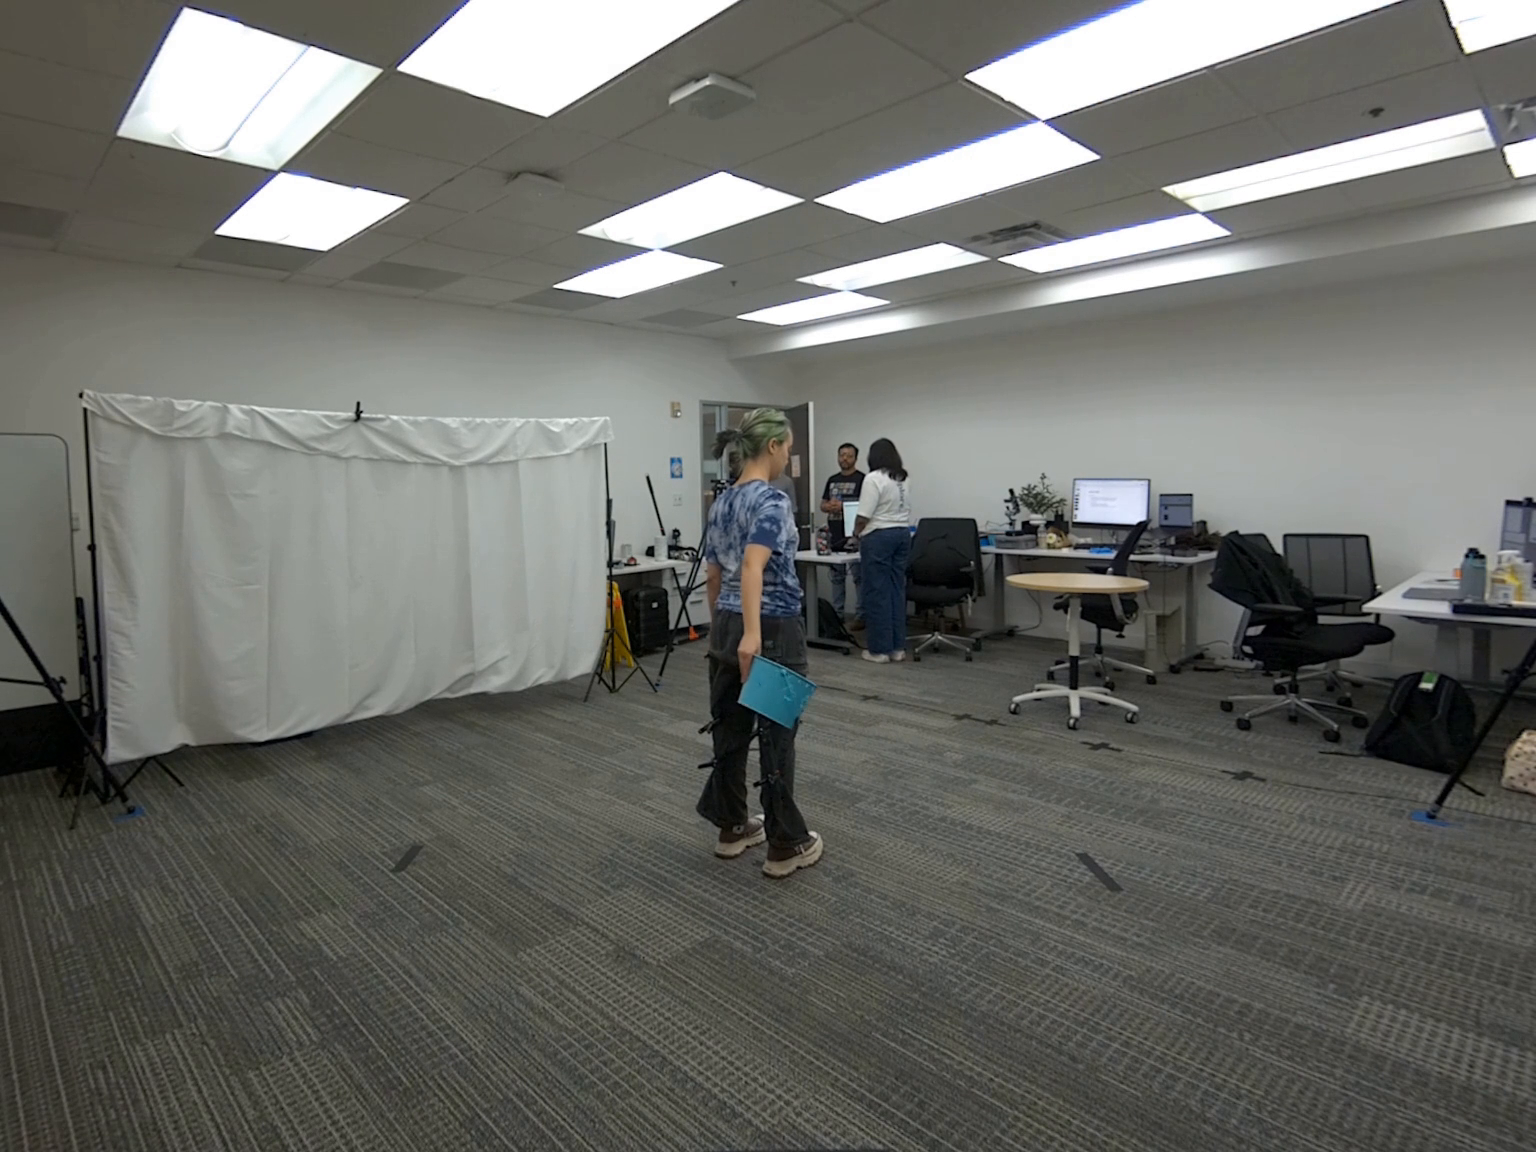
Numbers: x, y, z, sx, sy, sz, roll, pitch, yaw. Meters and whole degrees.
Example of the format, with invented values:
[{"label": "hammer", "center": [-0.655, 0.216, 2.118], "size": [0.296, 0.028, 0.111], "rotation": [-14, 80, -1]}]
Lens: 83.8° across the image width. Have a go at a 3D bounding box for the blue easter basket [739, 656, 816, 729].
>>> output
[{"label": "blue easter basket", "center": [0.031, 0.362, 2.649], "size": [0.245, 0.156, 0.242], "rotation": [25, -8, 2]}]
